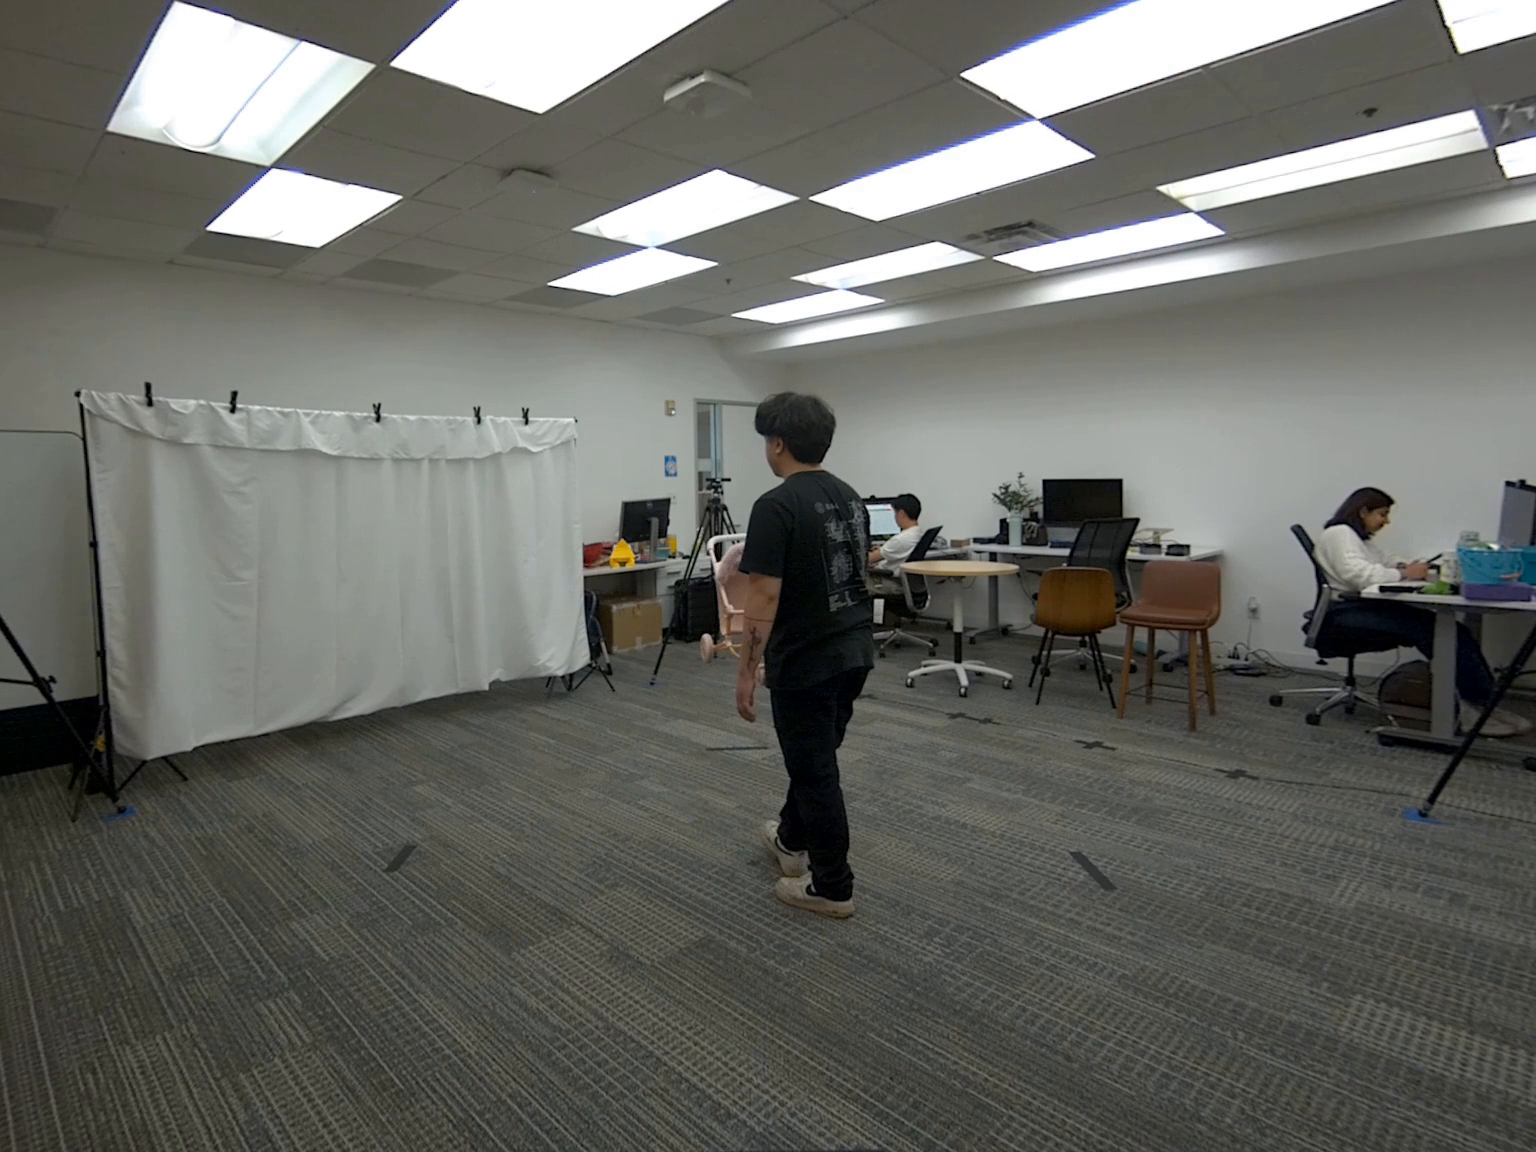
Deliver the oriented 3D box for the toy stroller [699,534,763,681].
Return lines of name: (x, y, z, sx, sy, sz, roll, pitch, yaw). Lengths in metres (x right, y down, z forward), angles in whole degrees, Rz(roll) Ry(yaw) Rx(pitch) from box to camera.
toy stroller: (-0.077, 0.113, 3.112, 0.277, 0.536, 0.345, -1, -1, -15)
